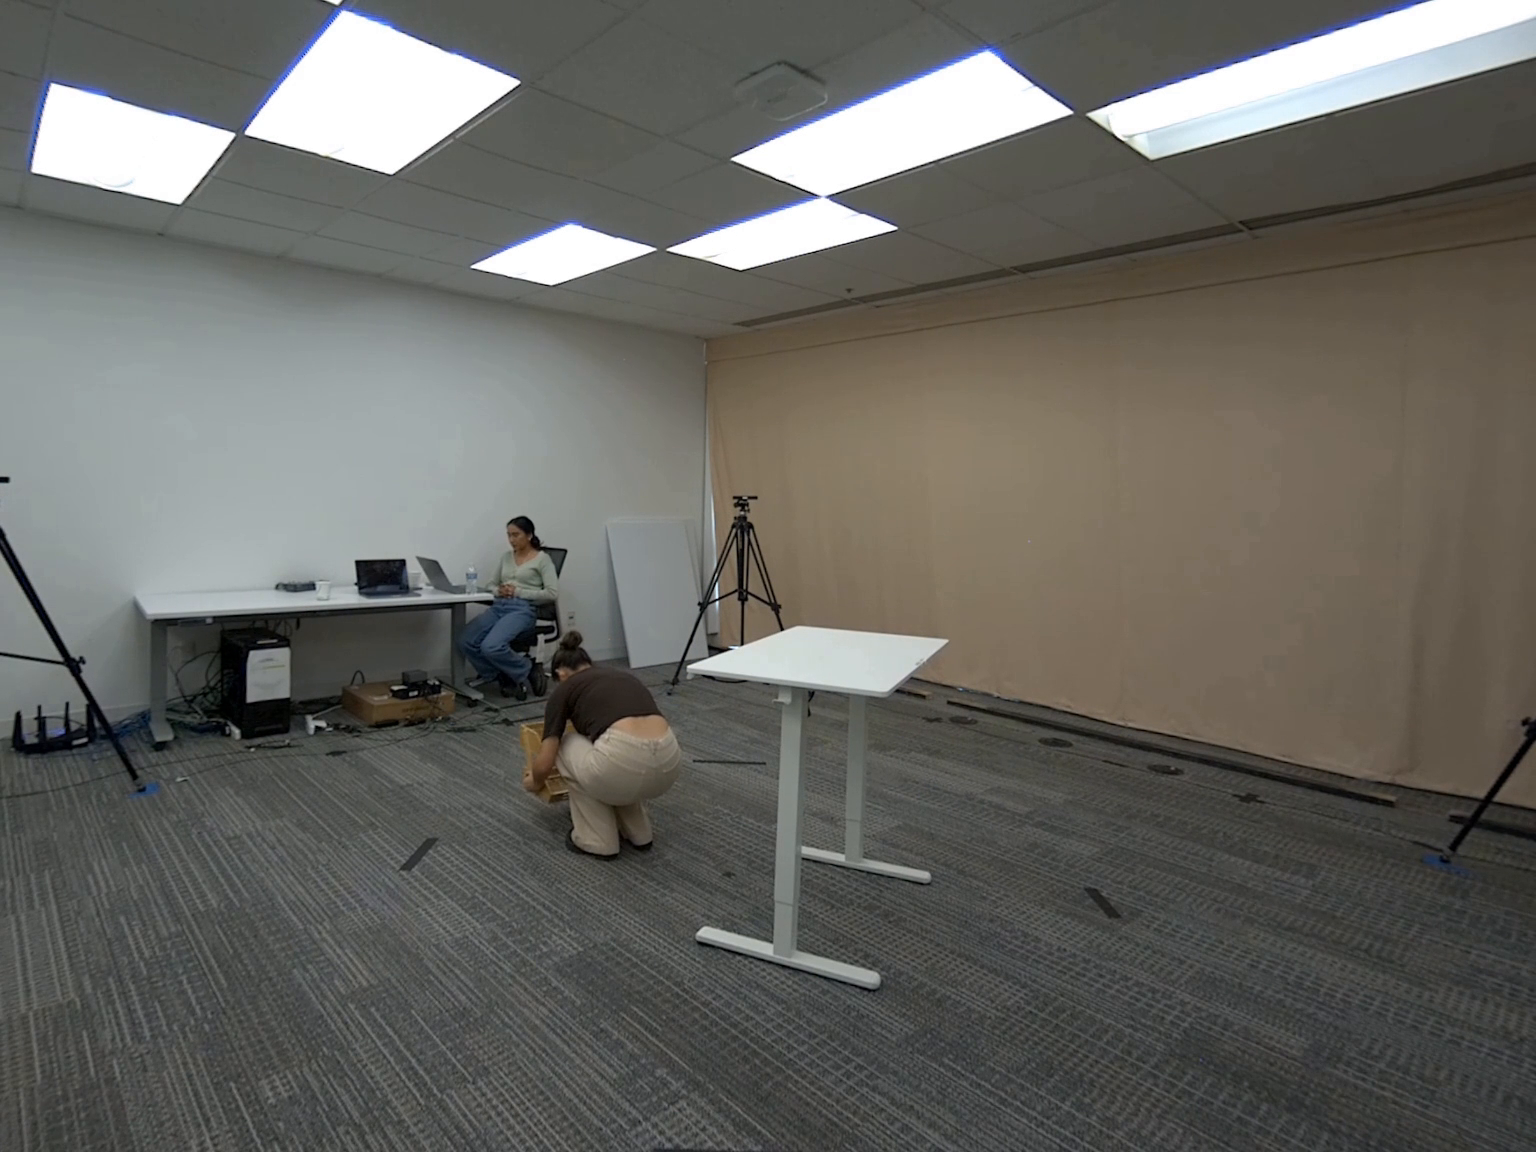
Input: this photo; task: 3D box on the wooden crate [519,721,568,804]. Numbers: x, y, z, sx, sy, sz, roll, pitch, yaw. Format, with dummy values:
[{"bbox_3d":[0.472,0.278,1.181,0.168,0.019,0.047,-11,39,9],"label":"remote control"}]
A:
[{"bbox_3d":[-0.875,0.782,3.623,0.317,0.272,0.310,0,6,-41],"label":"wooden crate"}]
